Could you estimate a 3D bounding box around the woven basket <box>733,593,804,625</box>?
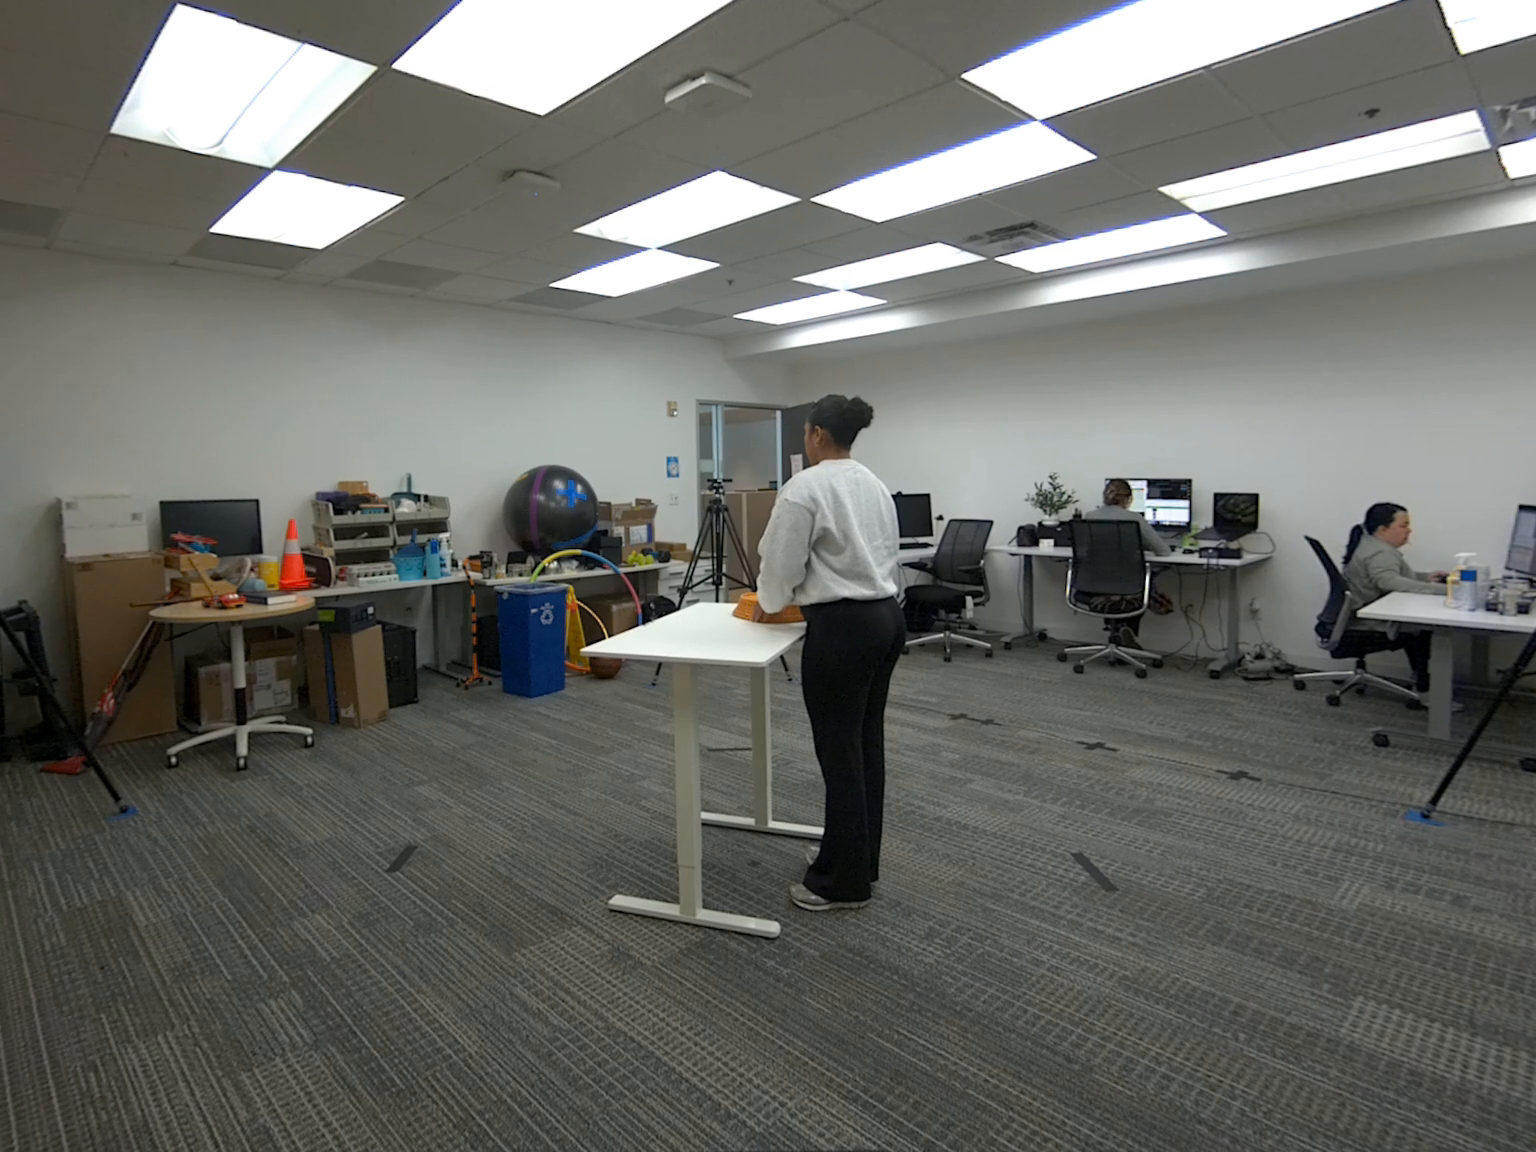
[{"bbox_3d":[0.016,0.114,3.188,0.247,0.073,0.359,-5,7,-25],"label":"woven basket"}]
